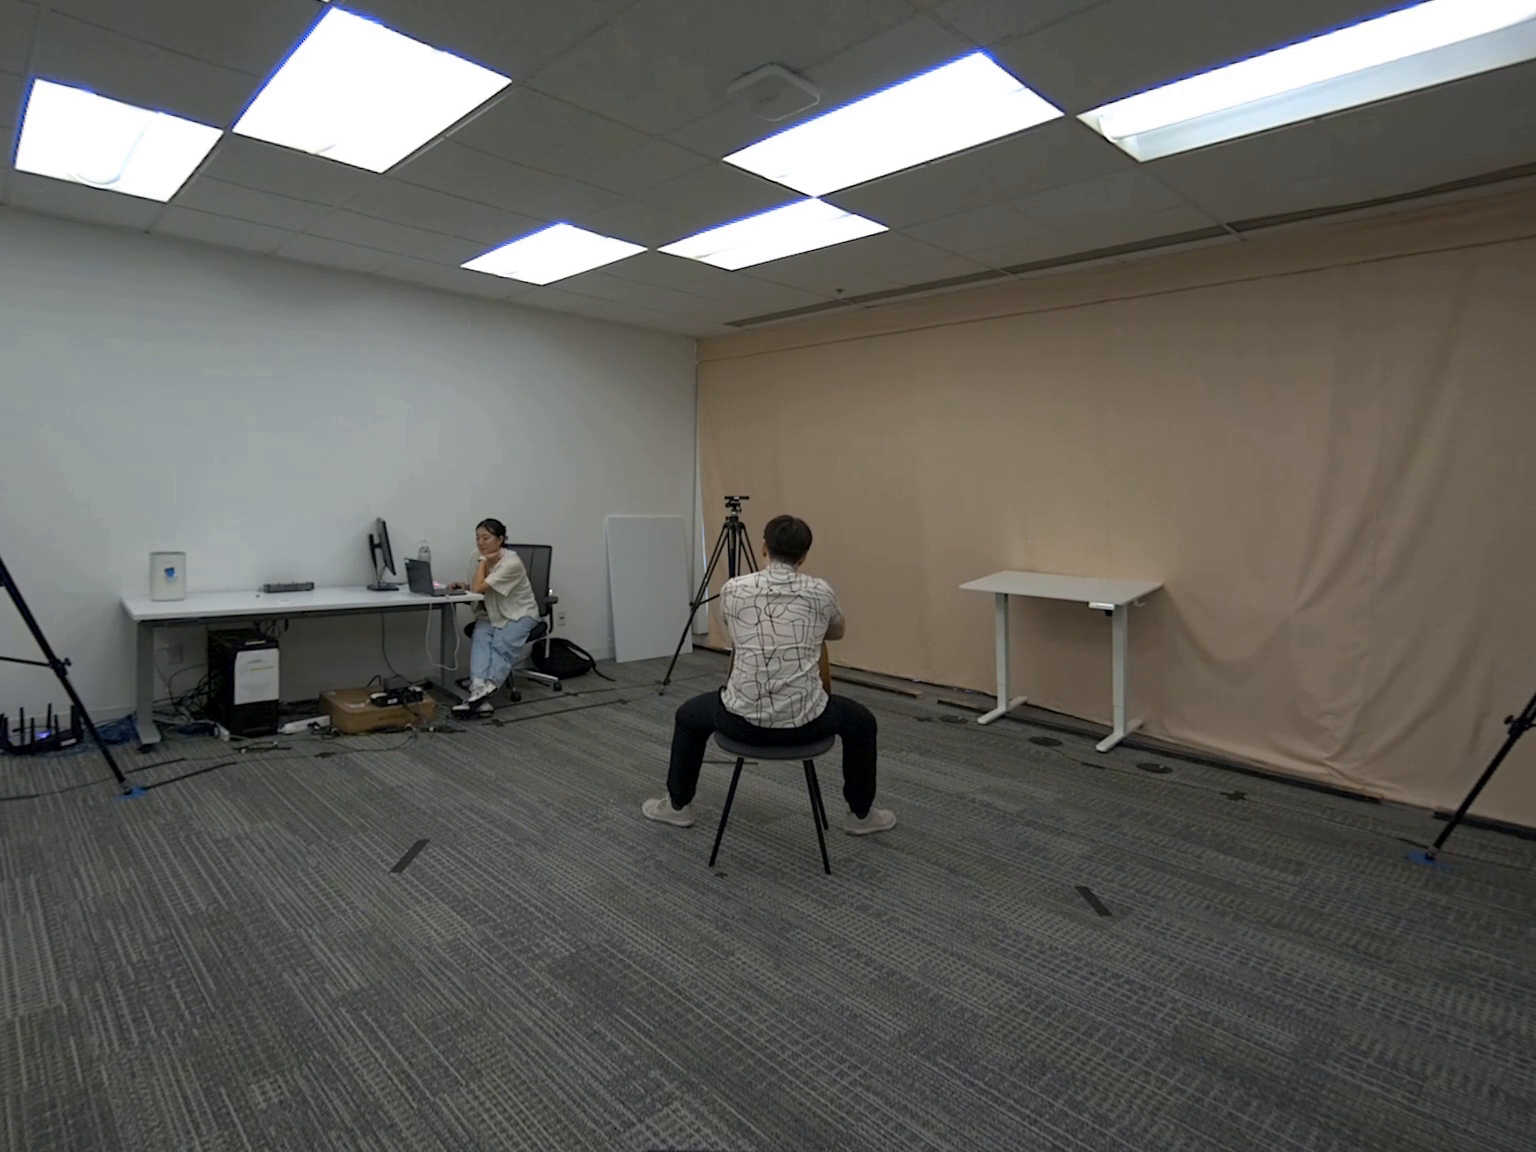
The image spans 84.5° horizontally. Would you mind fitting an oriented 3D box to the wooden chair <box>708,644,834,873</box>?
[{"bbox_3d":[0.023,0.670,3.334,0.480,0.878,0.520,2,-1,4],"label":"wooden chair"}]
